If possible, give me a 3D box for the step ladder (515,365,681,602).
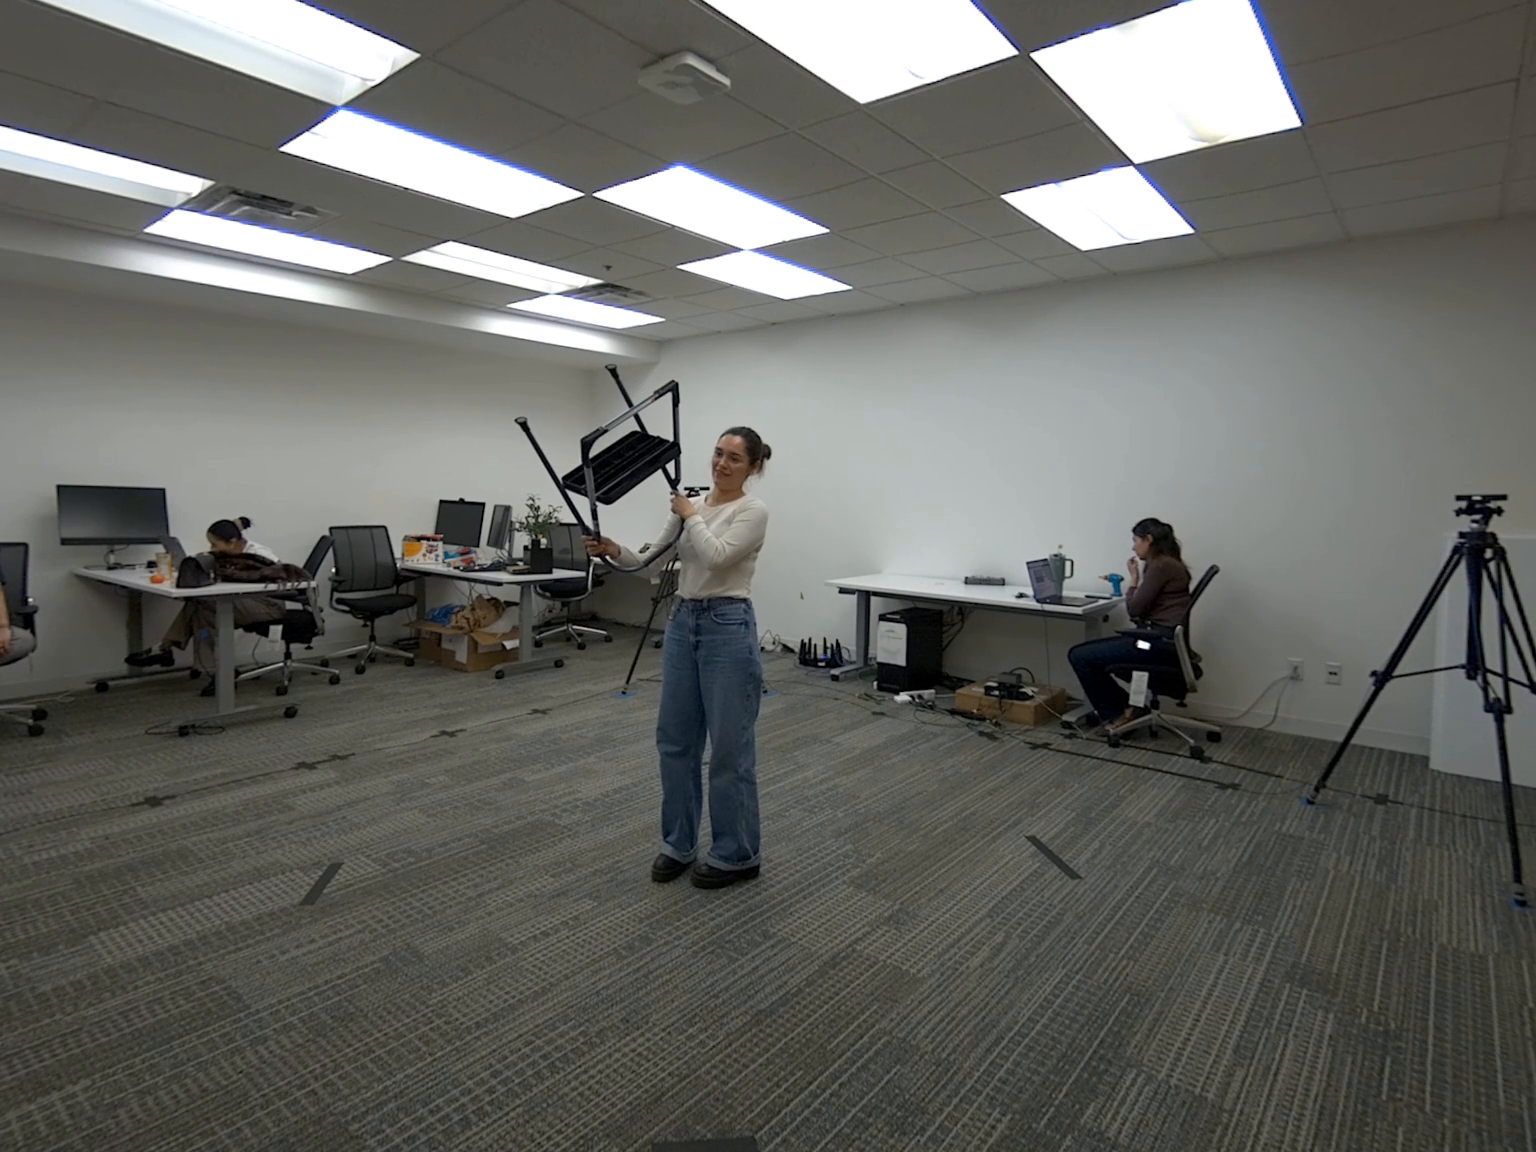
[{"bbox_3d":[-0.507,-0.333,2.879,0.363,0.586,0.428,21,47,37],"label":"step ladder"}]
